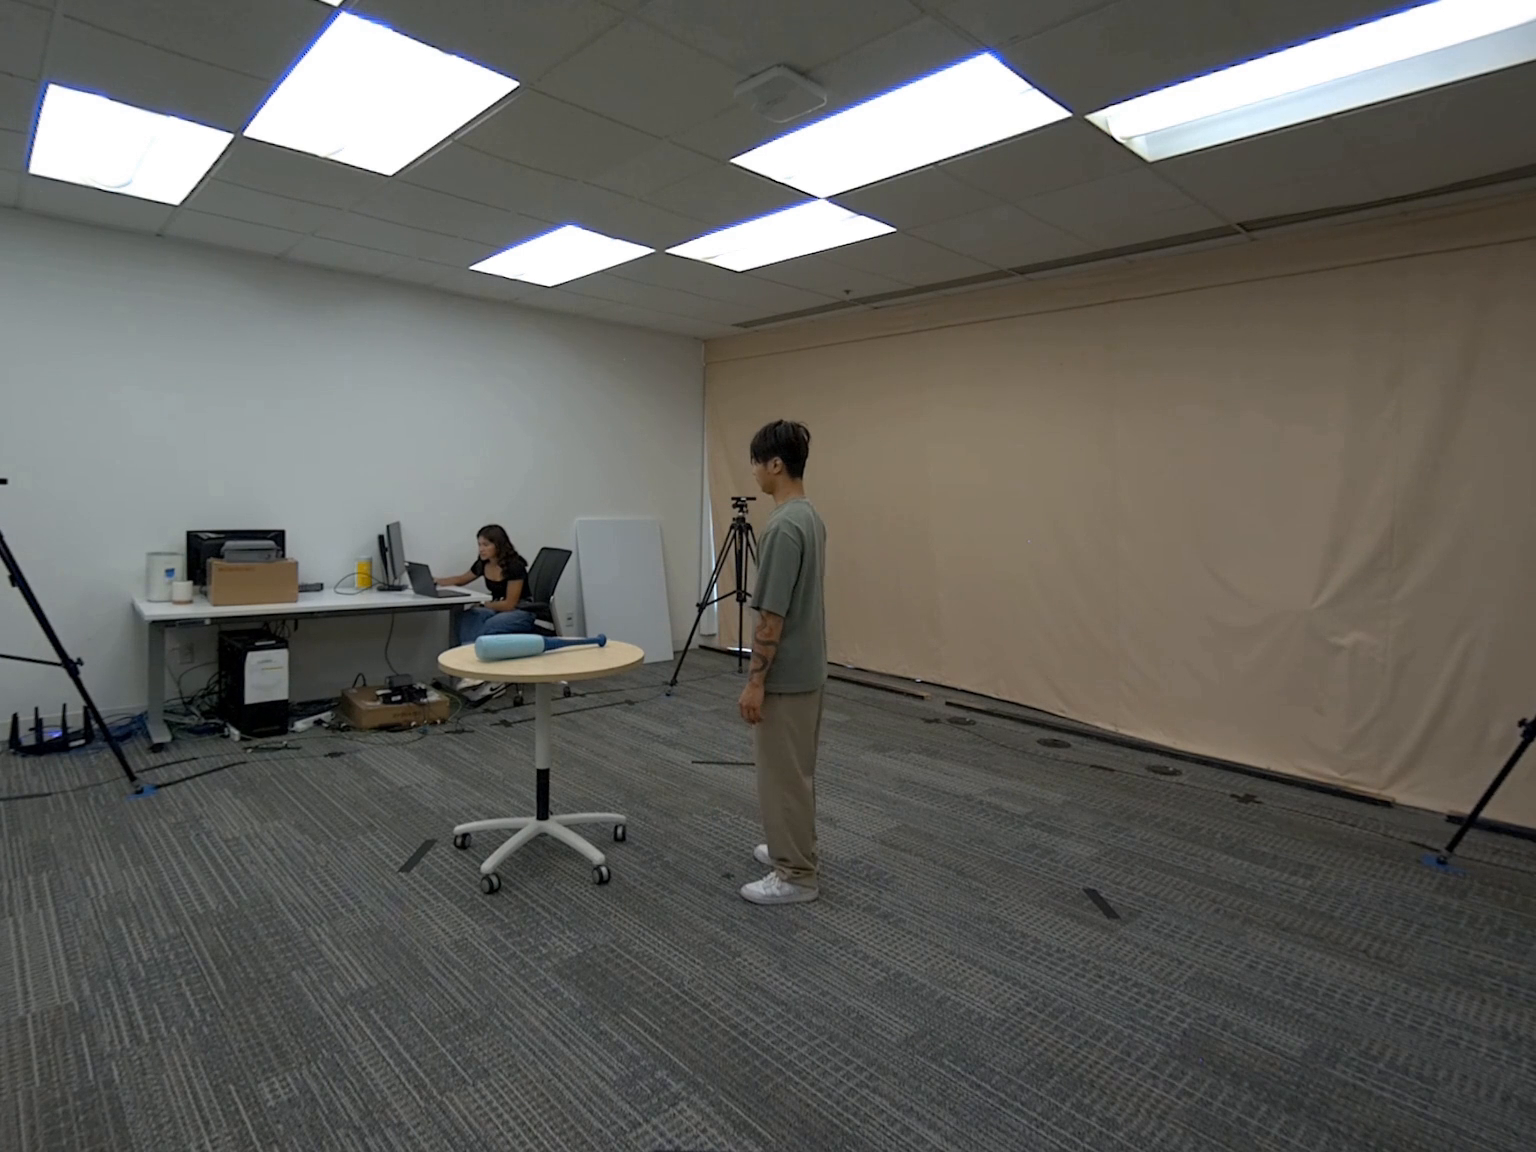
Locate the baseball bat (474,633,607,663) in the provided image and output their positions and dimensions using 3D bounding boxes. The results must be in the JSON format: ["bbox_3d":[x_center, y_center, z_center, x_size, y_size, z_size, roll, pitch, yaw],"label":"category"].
[{"bbox_3d":[-0.857,0.260,3.216,0.530,0.089,0.091,-1,5,-42],"label":"baseball bat"}]
